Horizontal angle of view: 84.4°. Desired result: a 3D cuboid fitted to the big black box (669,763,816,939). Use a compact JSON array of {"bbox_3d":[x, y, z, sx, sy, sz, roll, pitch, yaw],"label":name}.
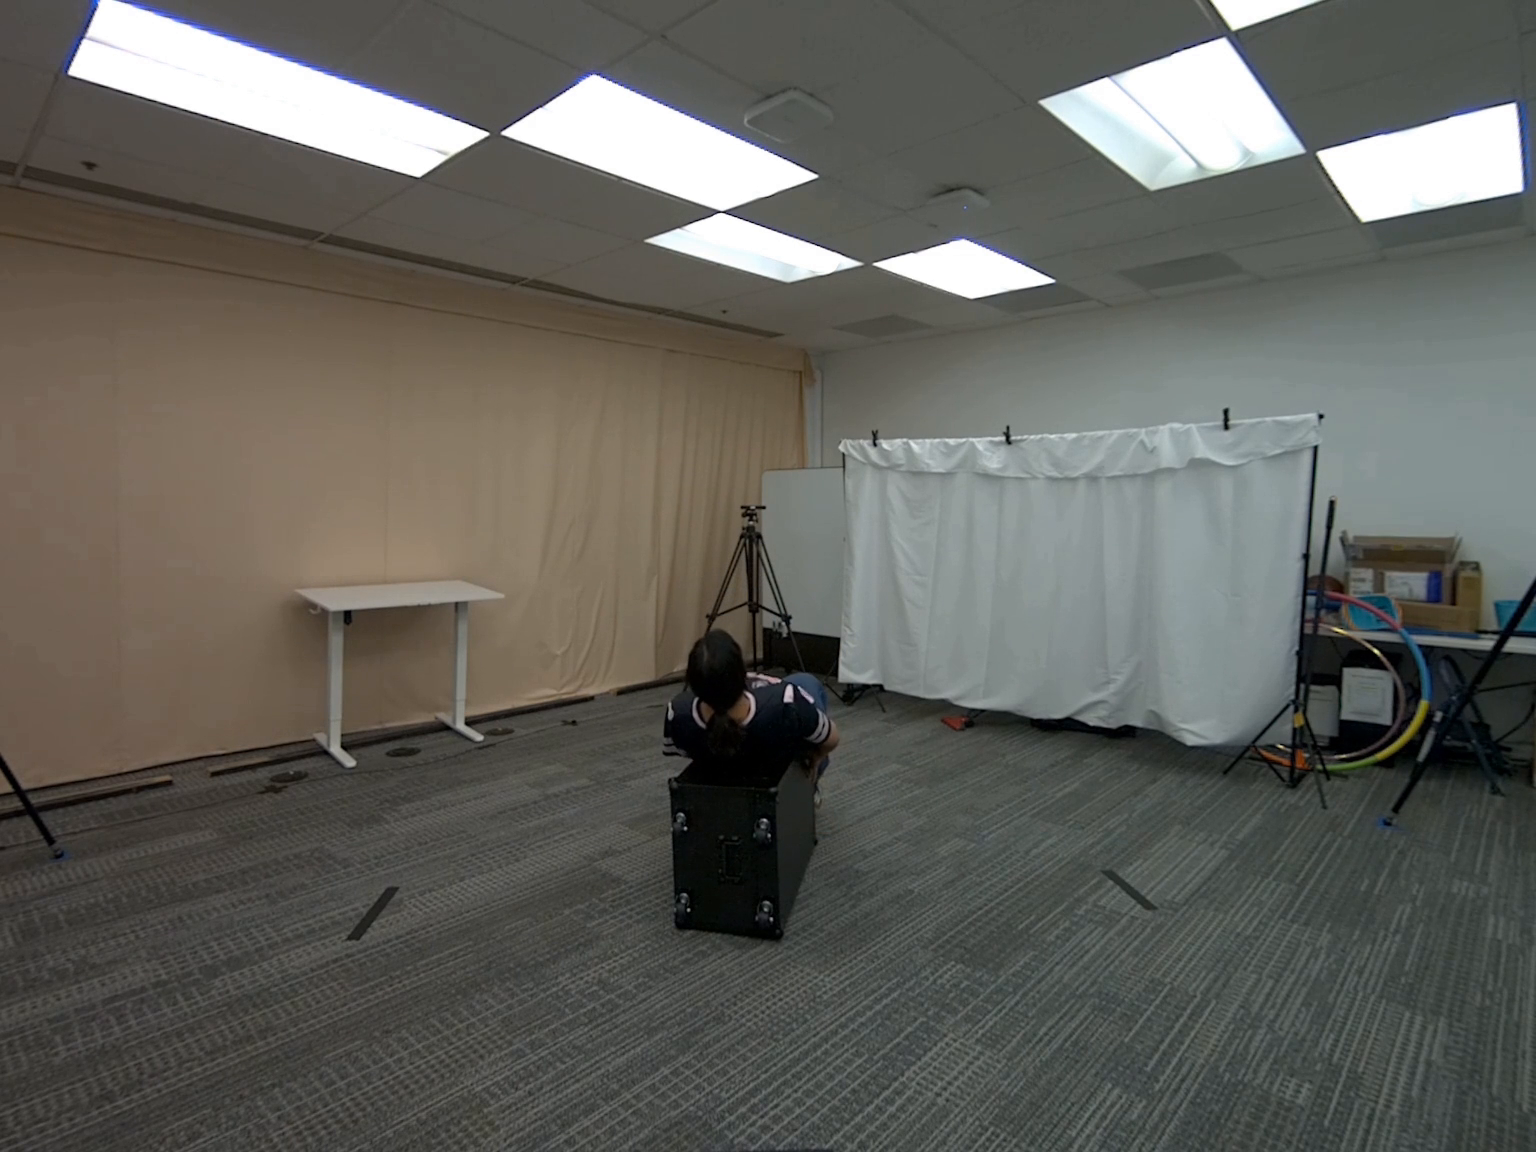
[{"bbox_3d":[-0.072,0.879,3.053,0.391,0.522,0.857,1,4,12],"label":"big black box"}]
